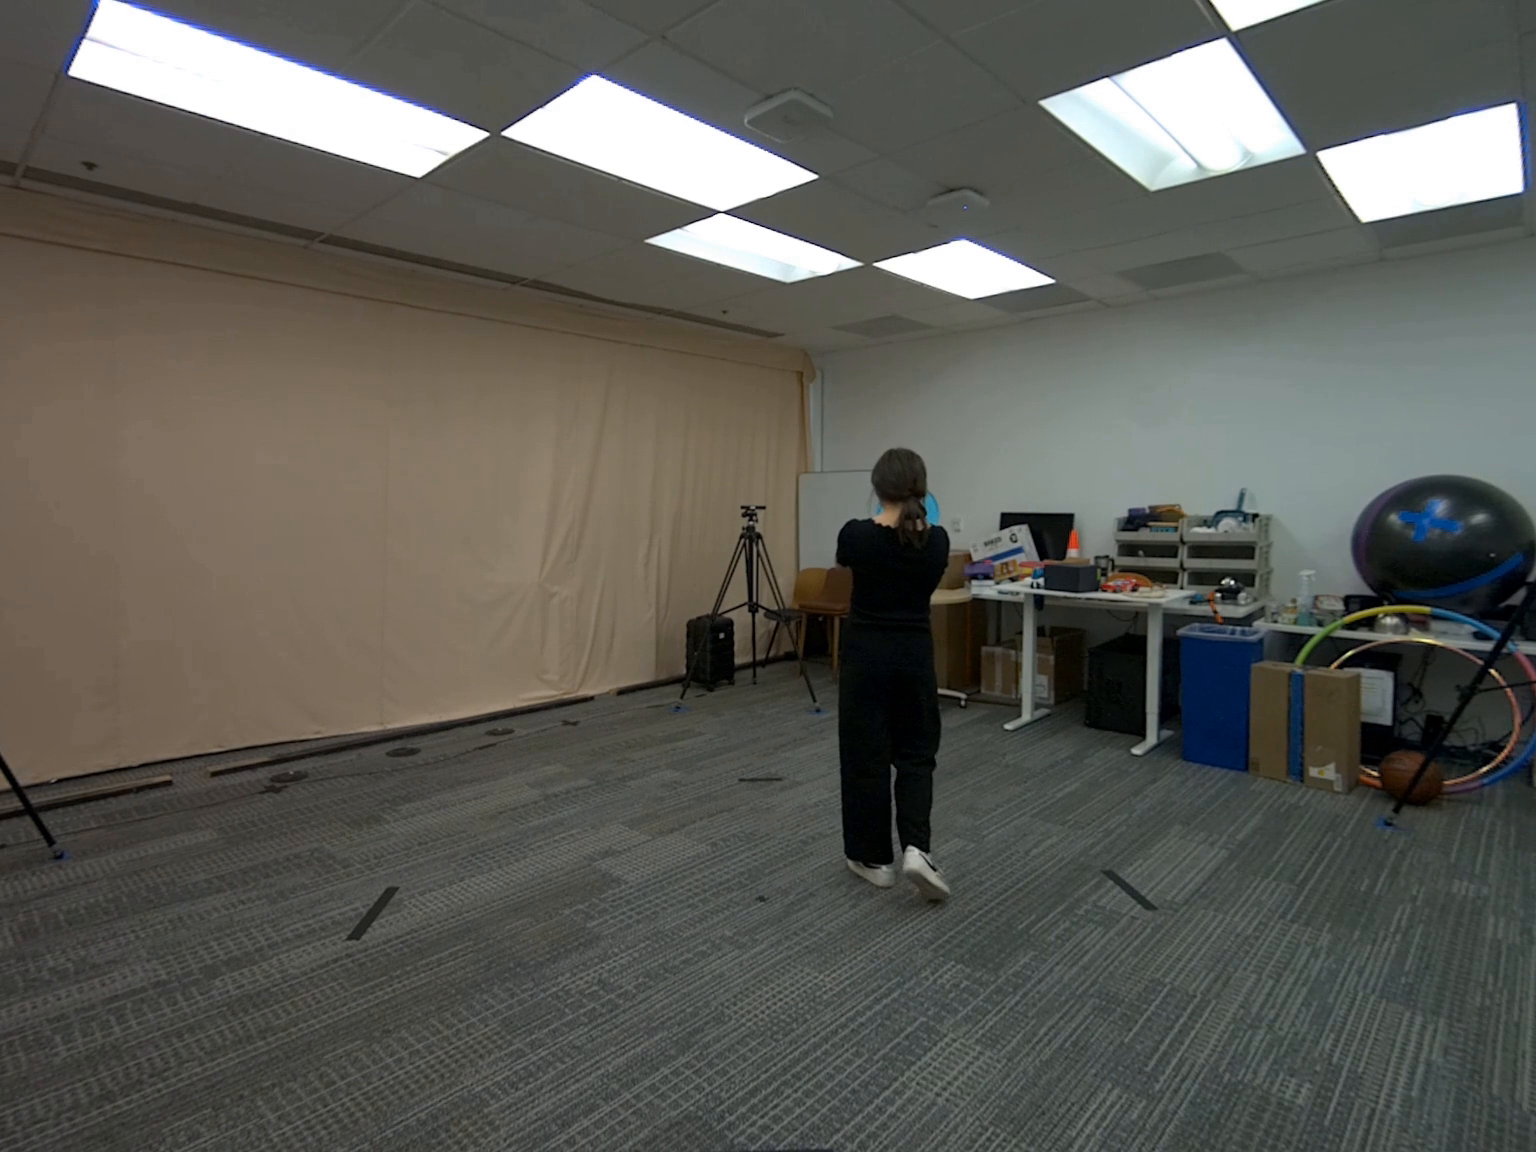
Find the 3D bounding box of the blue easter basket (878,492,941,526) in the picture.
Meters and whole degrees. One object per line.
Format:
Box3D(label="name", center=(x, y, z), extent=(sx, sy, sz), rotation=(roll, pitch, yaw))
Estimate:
Box3D(label="blue easter basket", center=(0.594, -0.265, 3.485), extent=(0.237, 0.244, 0.160), rotation=(-2, -5, -32))
